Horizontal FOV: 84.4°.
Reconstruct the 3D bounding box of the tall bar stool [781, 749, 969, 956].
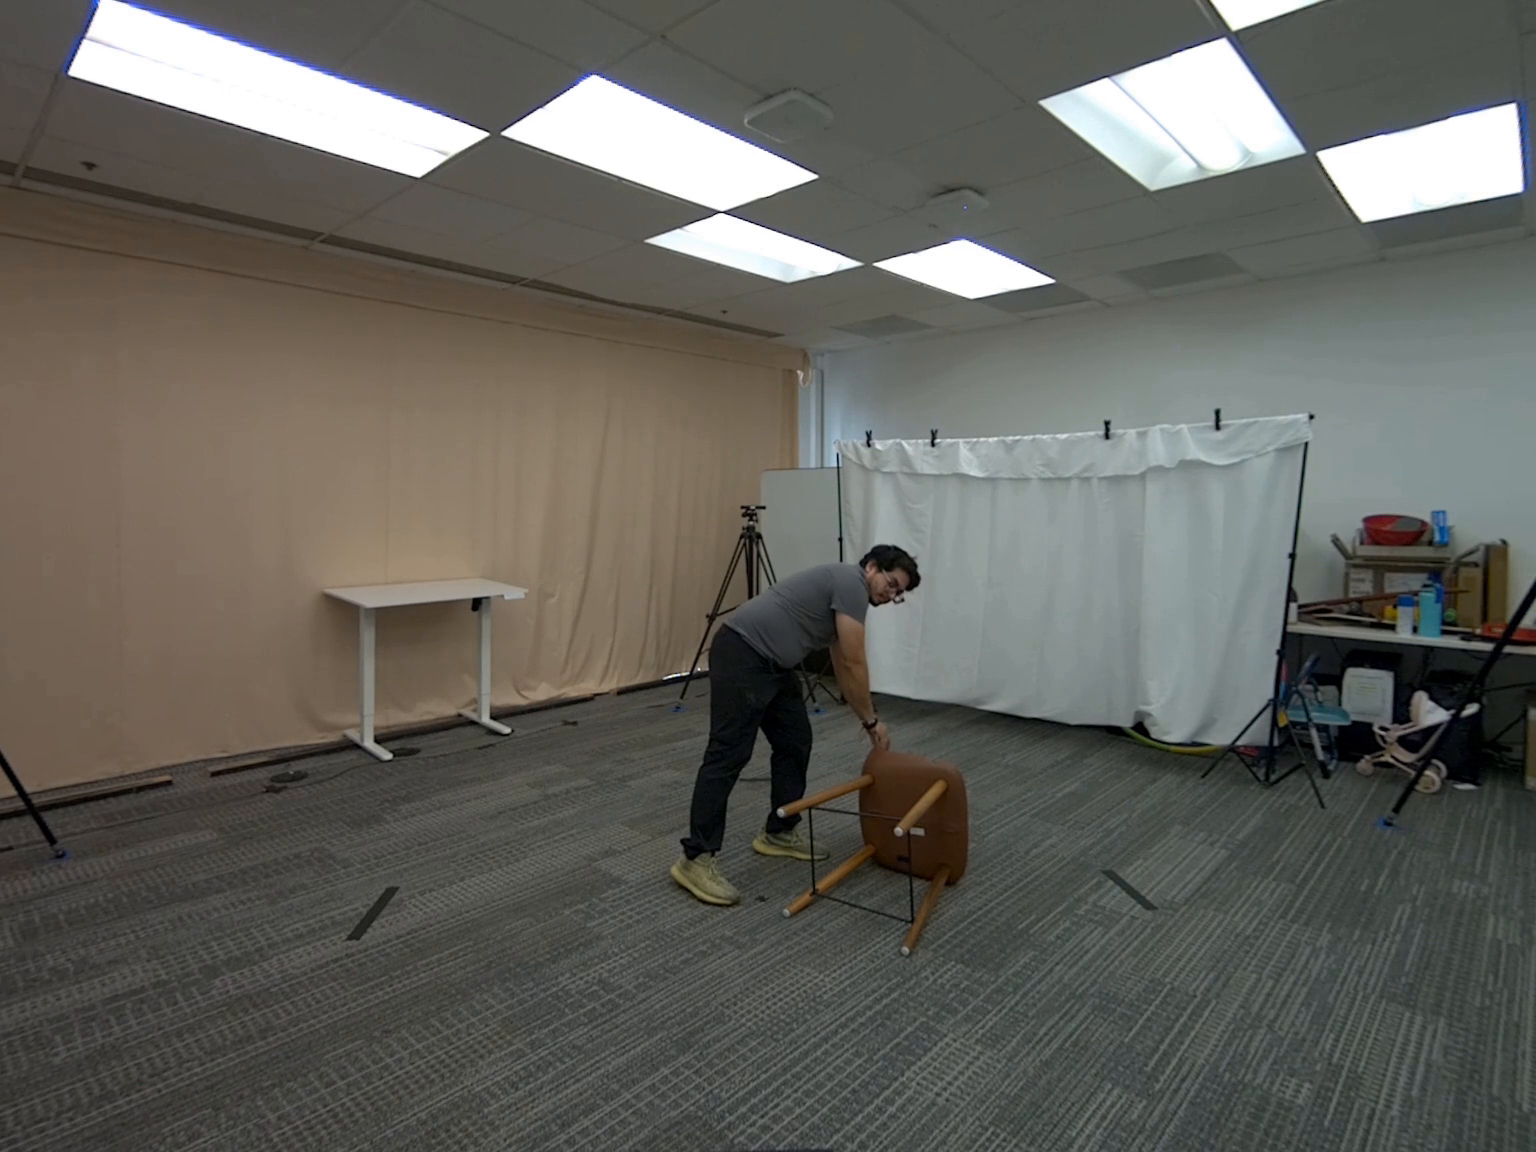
[{"bbox_3d":[0.462,0.924,3.069,0.481,0.455,0.867,0,6,31],"label":"tall bar stool"}]
